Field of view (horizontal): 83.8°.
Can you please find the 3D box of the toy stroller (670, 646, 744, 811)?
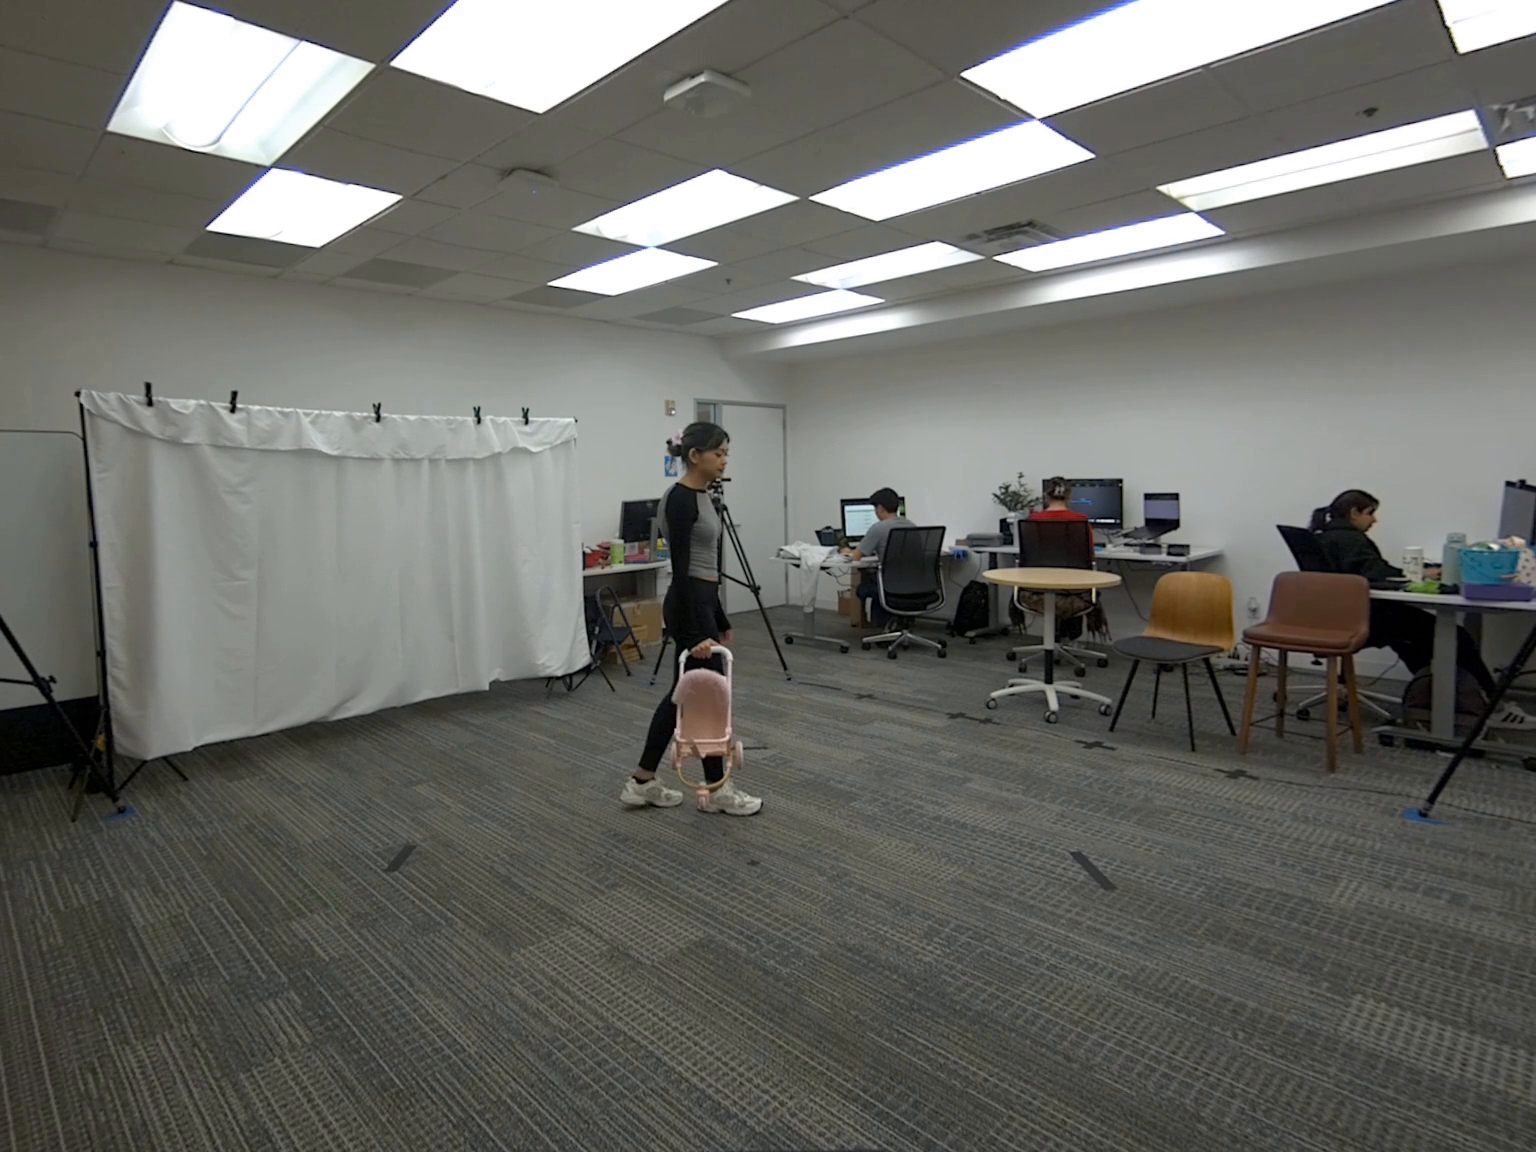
[{"bbox_3d":[-0.241,0.572,3.217,0.283,0.531,0.342,0,8,5],"label":"toy stroller"}]
